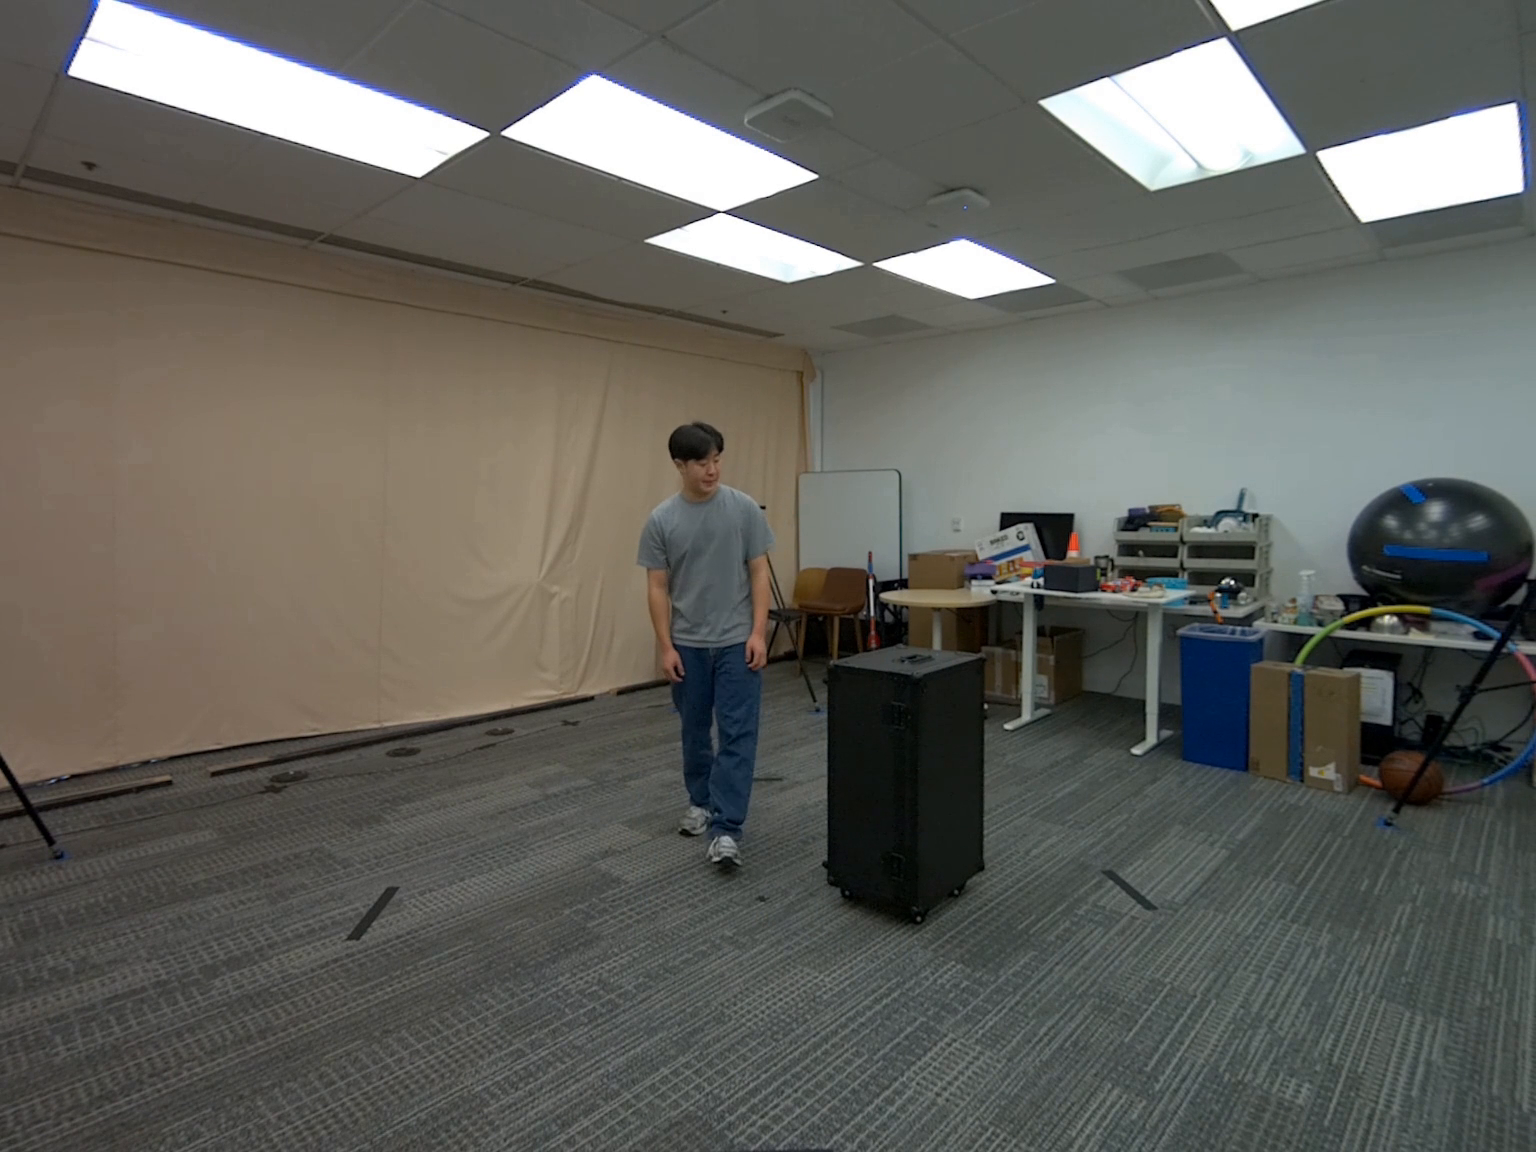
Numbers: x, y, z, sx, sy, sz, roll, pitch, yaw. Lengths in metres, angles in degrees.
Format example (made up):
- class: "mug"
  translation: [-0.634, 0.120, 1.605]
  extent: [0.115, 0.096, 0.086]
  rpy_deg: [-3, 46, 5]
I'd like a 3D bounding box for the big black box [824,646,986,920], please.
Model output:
- class: "big black box"
  translation: [0.489, 0.716, 2.982]
  extent: [0.409, 0.860, 0.505]
  rpy_deg: [1, 3, 41]
